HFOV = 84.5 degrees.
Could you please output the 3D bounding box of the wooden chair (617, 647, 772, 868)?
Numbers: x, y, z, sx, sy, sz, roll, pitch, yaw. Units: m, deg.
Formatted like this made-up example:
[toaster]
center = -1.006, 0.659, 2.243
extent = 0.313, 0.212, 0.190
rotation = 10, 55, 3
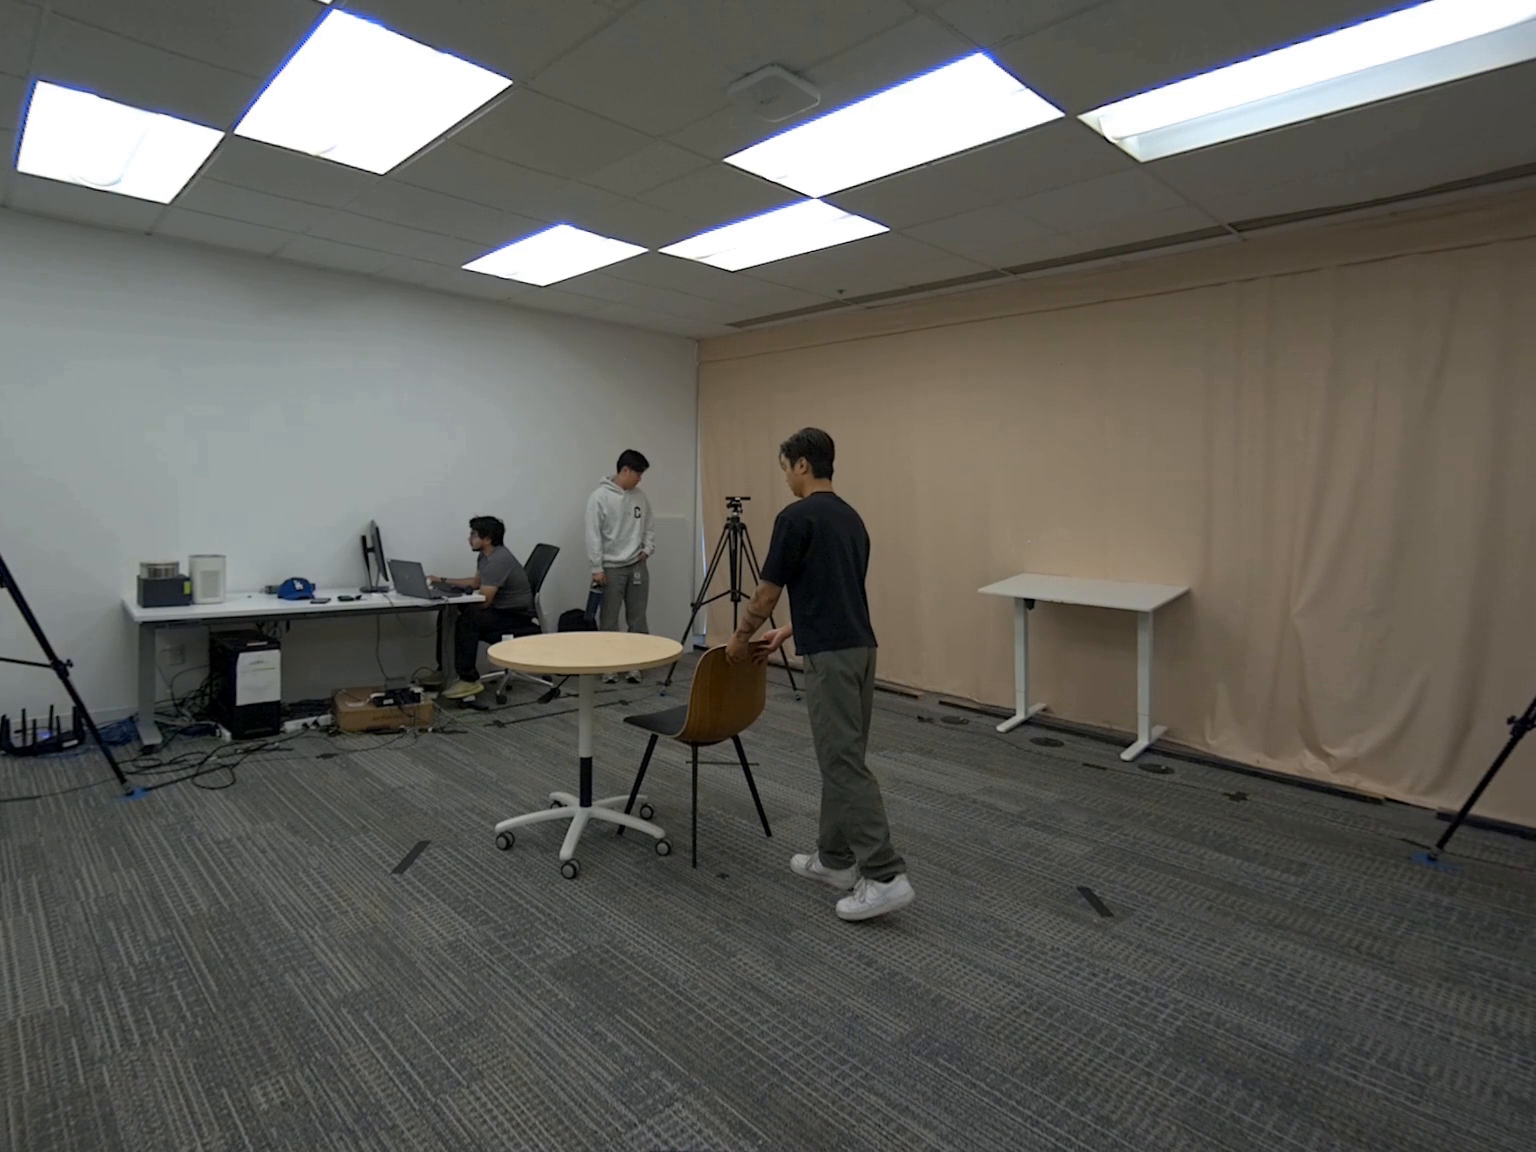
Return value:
[wooden chair]
center = -0.302, 0.642, 3.446
extent = 0.537, 0.874, 0.467
rotation = 11, 8, 41
